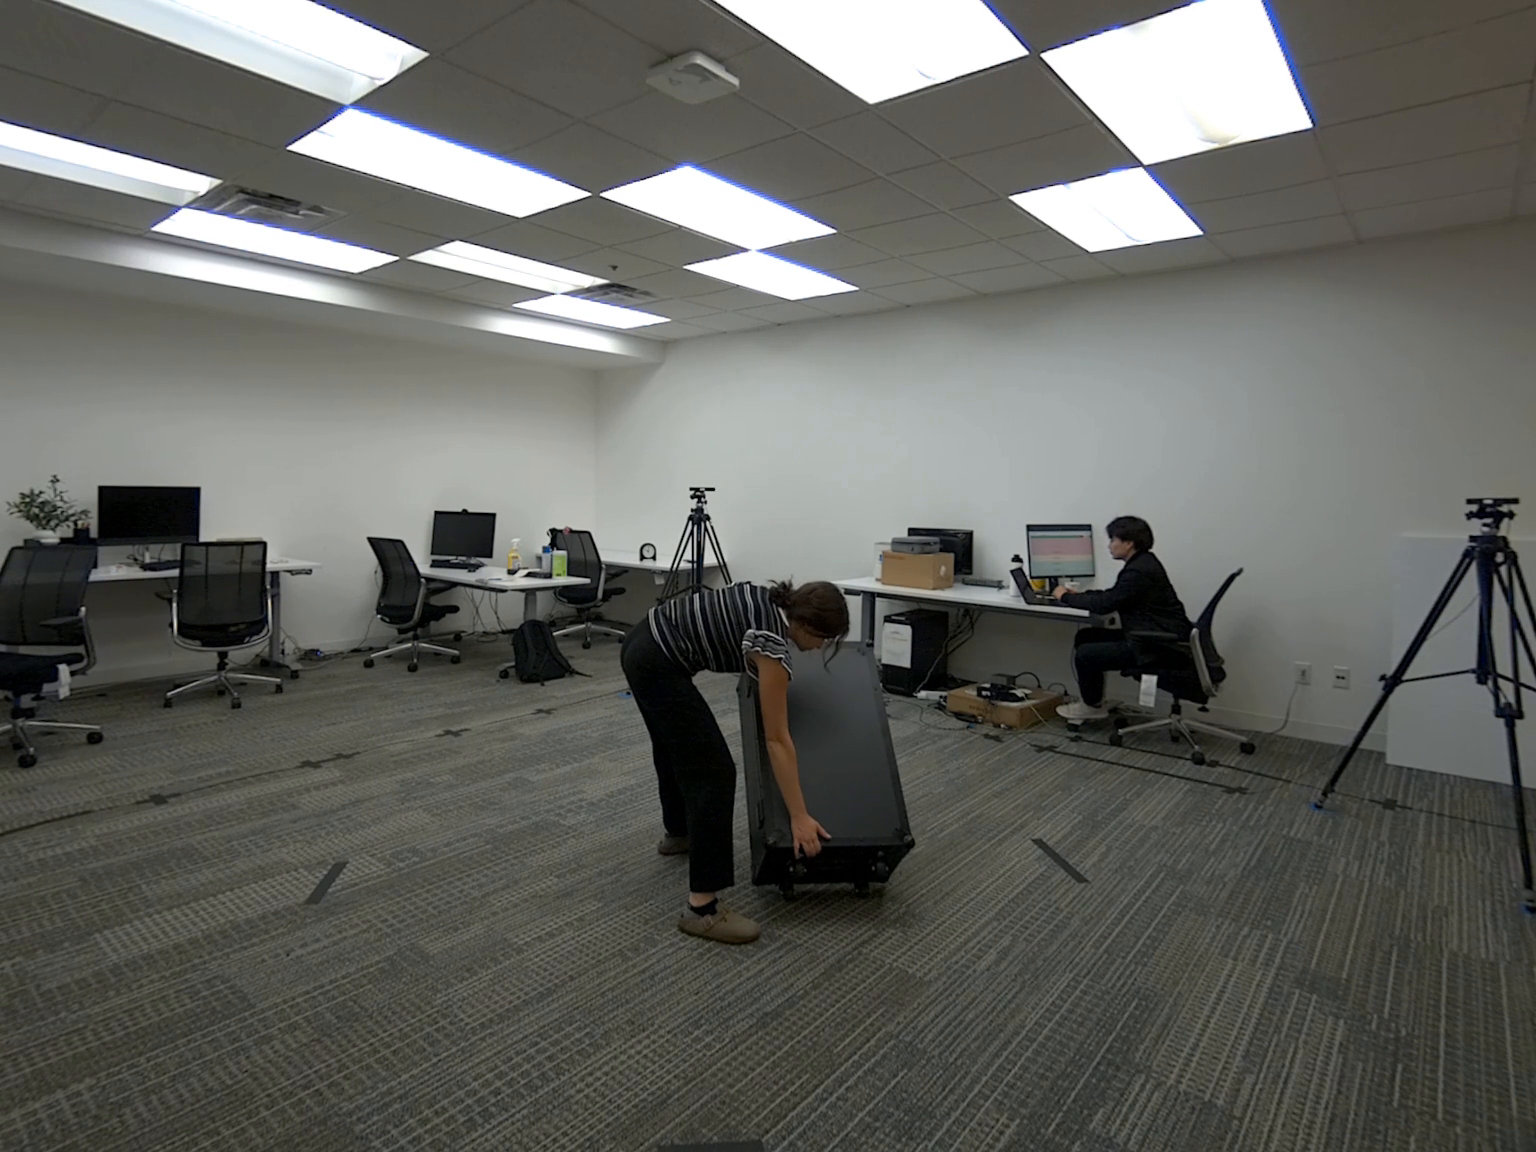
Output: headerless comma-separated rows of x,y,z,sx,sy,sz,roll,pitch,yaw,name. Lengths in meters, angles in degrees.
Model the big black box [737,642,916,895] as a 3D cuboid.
0.168,0.684,3.075,0.518,0.888,0.386,-1,-39,-6,big black box
